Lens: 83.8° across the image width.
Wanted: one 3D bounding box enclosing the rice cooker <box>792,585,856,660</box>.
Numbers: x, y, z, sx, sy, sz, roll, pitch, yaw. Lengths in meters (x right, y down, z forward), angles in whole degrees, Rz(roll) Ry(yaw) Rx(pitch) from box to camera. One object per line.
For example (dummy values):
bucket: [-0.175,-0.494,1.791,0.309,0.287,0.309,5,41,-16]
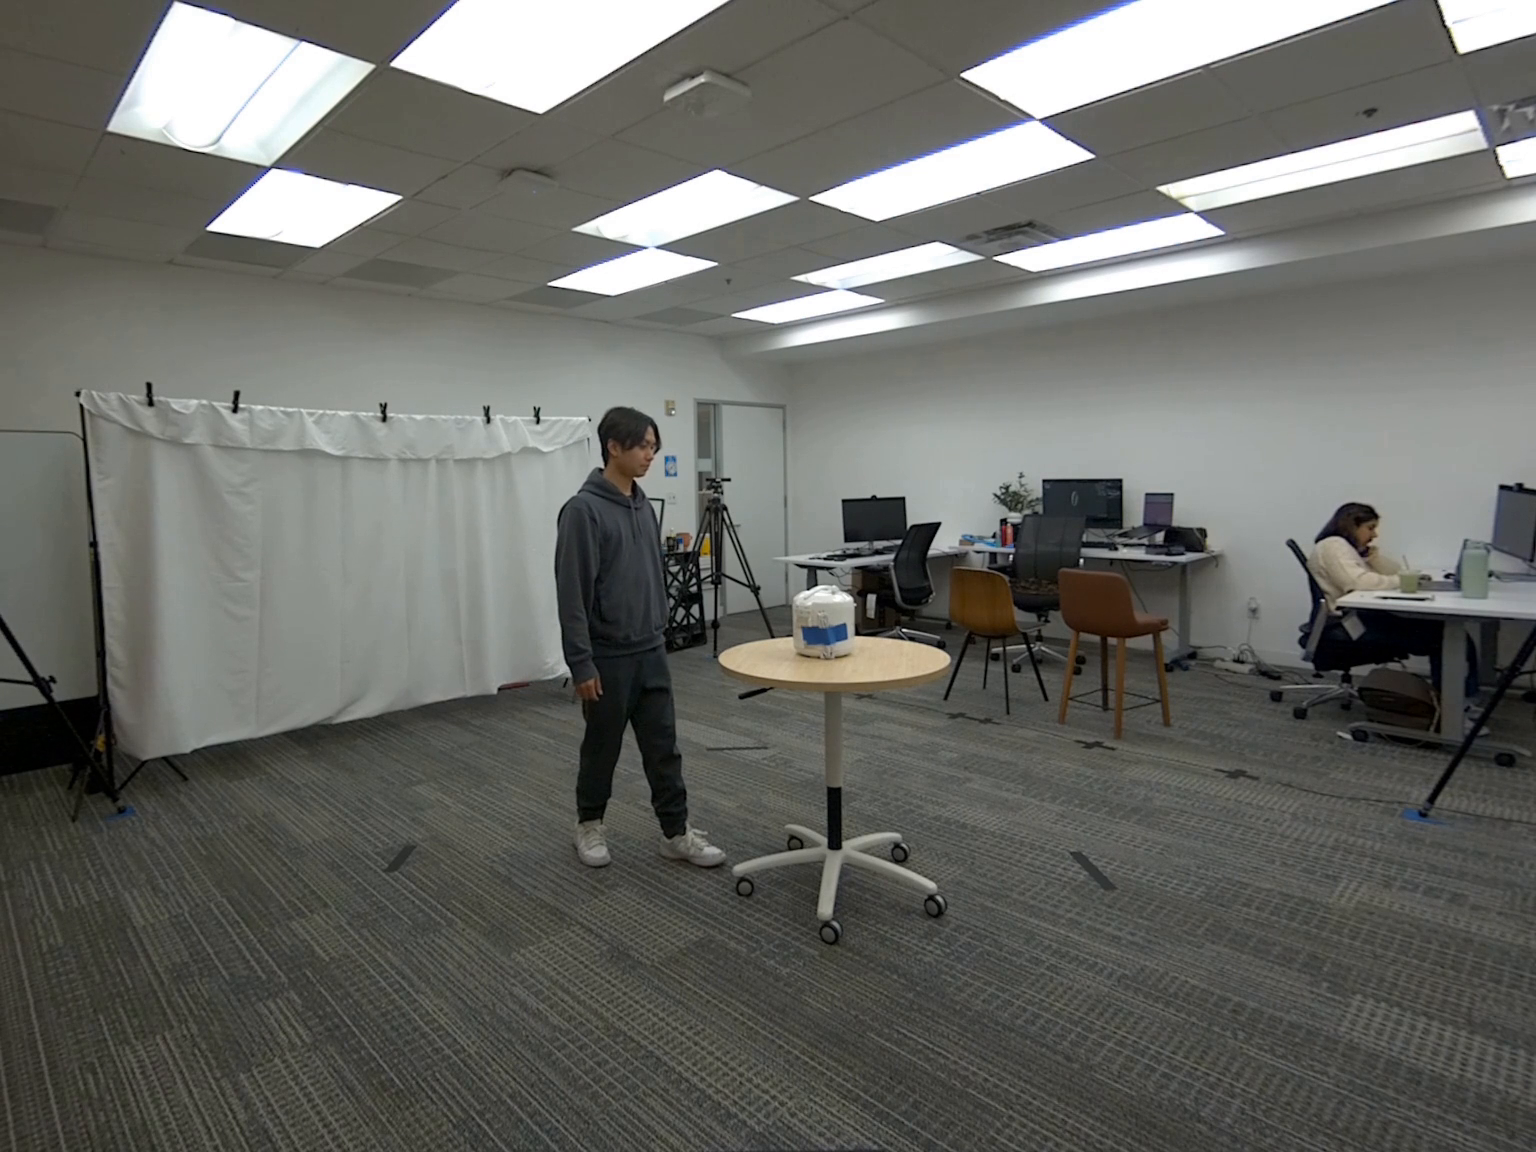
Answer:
rice cooker: [0.185,0.149,2.895,0.215,0.232,0.224,-5,7,-44]
